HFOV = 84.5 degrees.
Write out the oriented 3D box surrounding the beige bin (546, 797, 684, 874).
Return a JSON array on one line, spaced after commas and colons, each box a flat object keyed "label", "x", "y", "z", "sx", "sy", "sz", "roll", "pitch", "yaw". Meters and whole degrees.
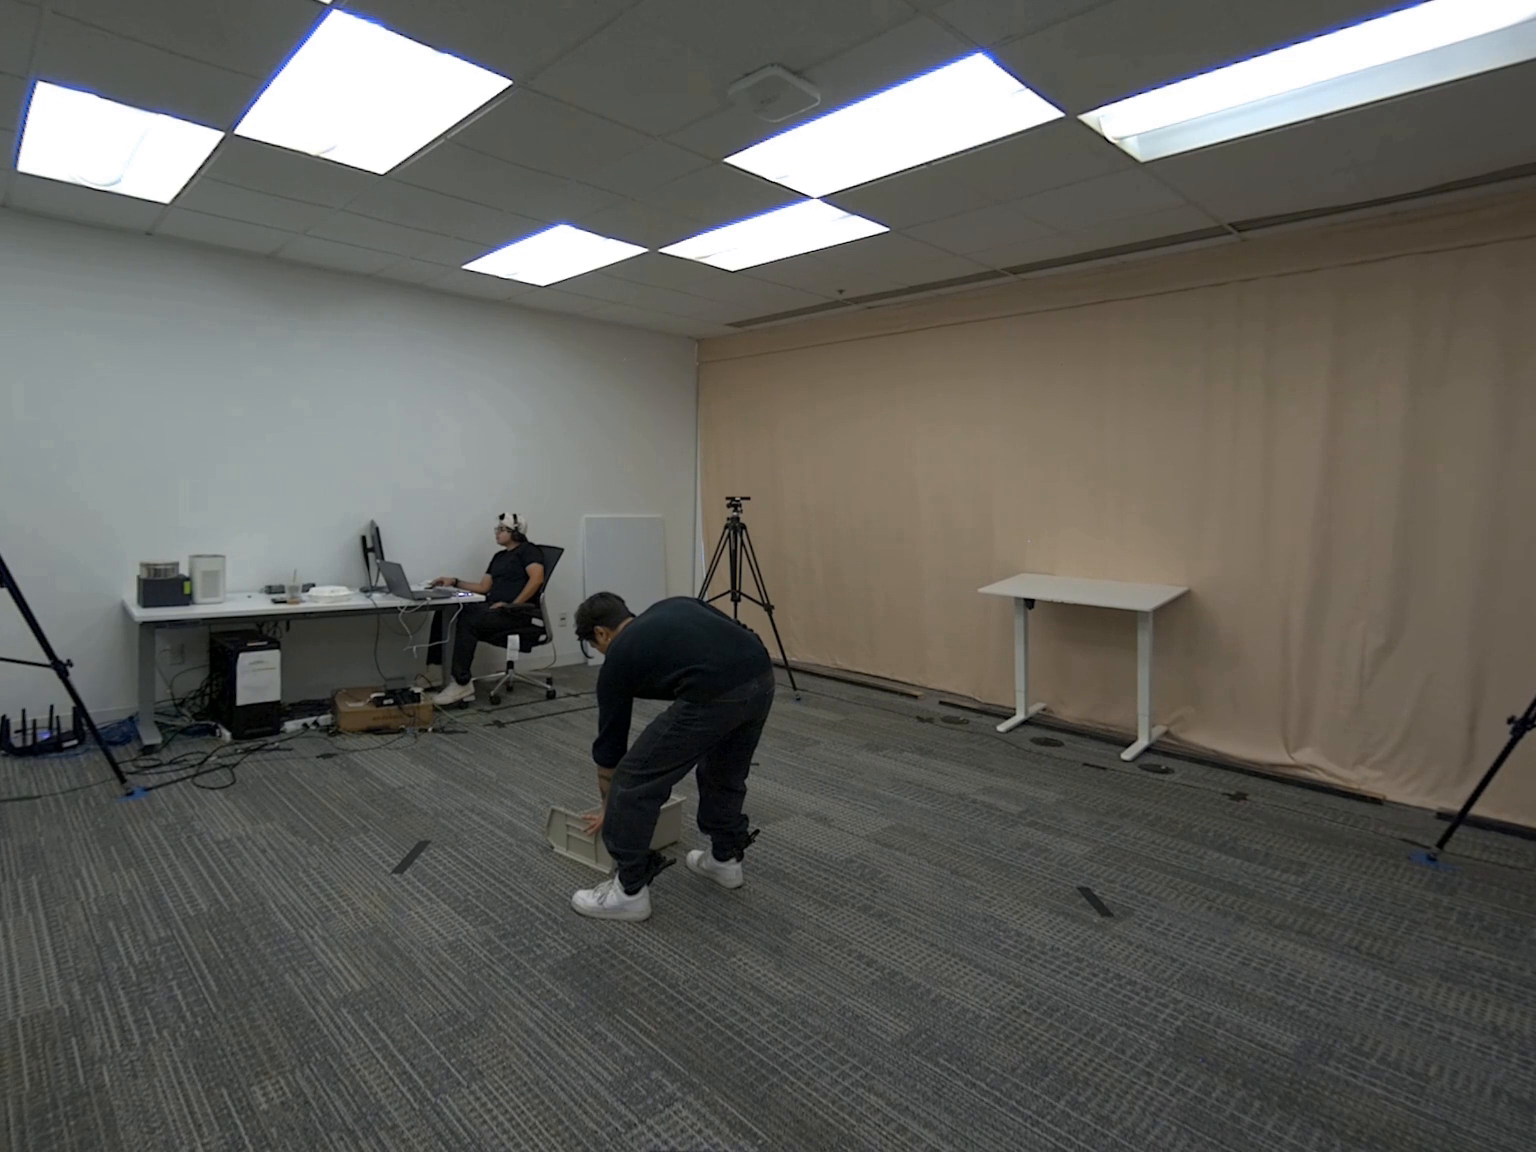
[{"label": "beige bin", "x": -0.614, "y": 0.987, "z": 3.363, "sx": 0.387, "sy": 0.188, "sz": 0.413, "roll": 6, "pitch": 6, "yaw": 36}]
